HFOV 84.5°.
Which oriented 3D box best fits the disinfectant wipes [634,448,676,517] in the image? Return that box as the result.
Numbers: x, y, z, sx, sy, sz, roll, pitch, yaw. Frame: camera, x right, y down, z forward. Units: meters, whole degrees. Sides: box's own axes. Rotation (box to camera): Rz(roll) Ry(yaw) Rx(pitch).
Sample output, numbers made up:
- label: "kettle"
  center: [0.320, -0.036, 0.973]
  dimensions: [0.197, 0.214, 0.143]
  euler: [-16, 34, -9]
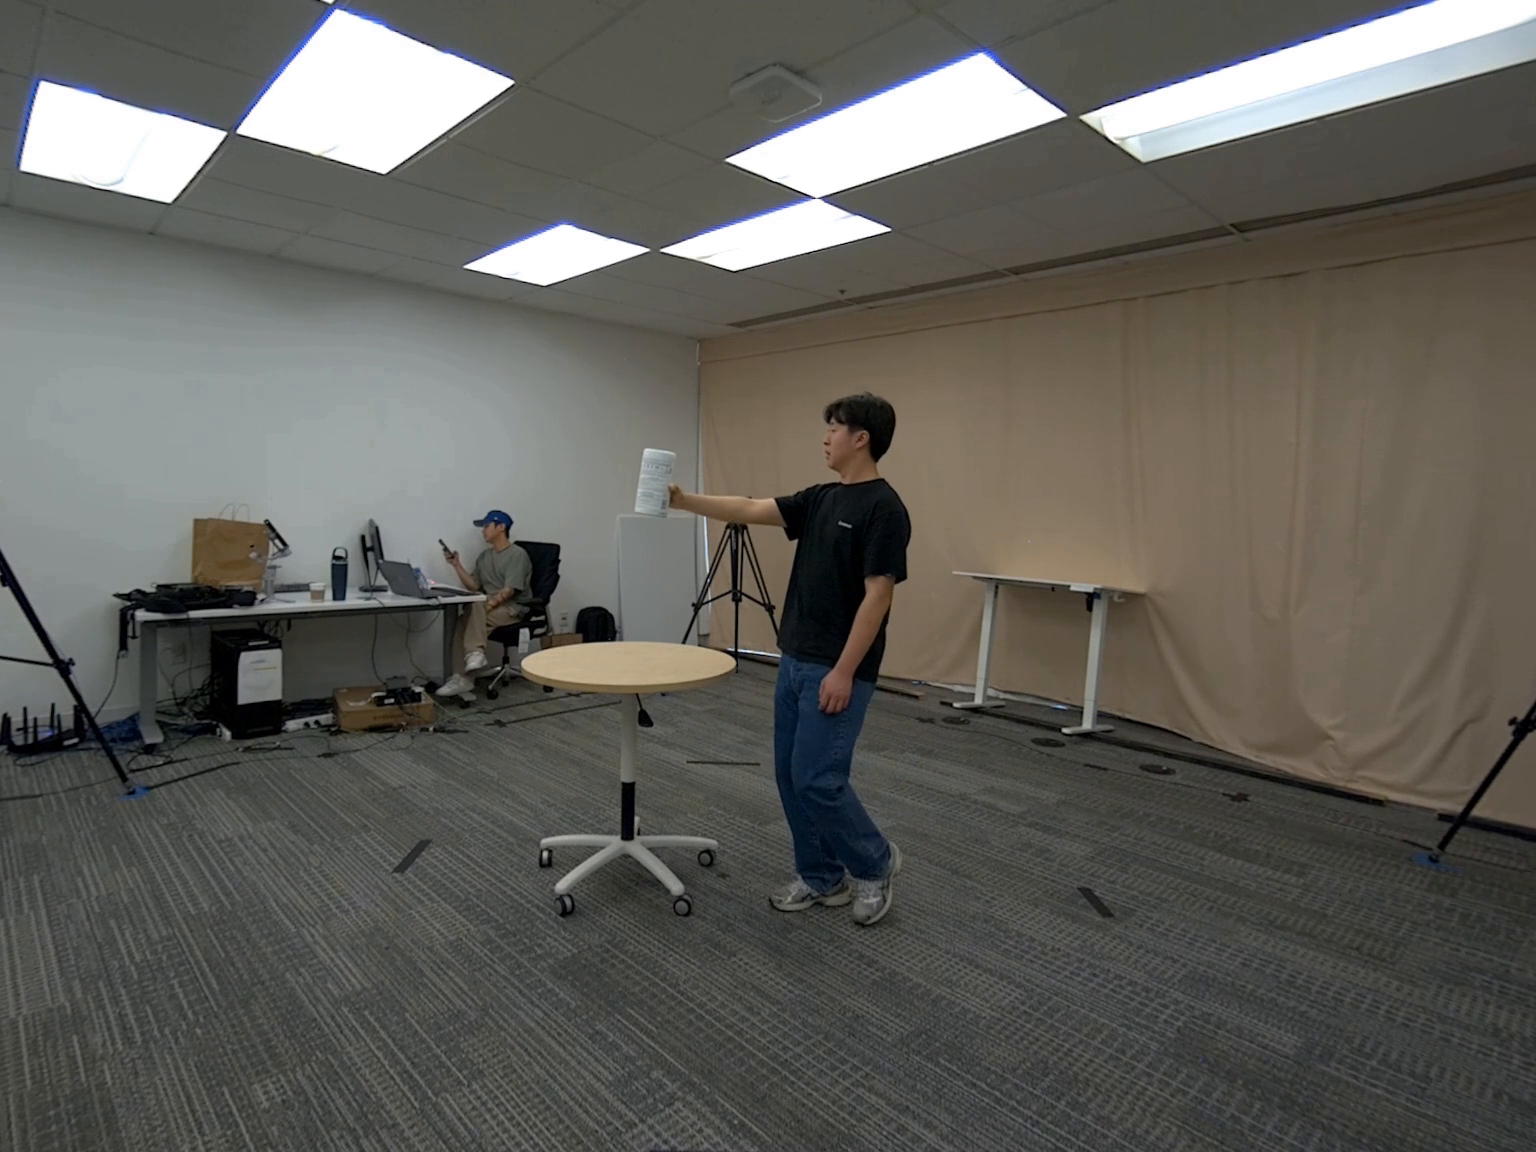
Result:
- label: "disinfectant wipes"
  center: [-0.367, -0.302, 2.770]
  dimensions: [0.117, 0.217, 0.118]
  euler: [6, 4, -2]
